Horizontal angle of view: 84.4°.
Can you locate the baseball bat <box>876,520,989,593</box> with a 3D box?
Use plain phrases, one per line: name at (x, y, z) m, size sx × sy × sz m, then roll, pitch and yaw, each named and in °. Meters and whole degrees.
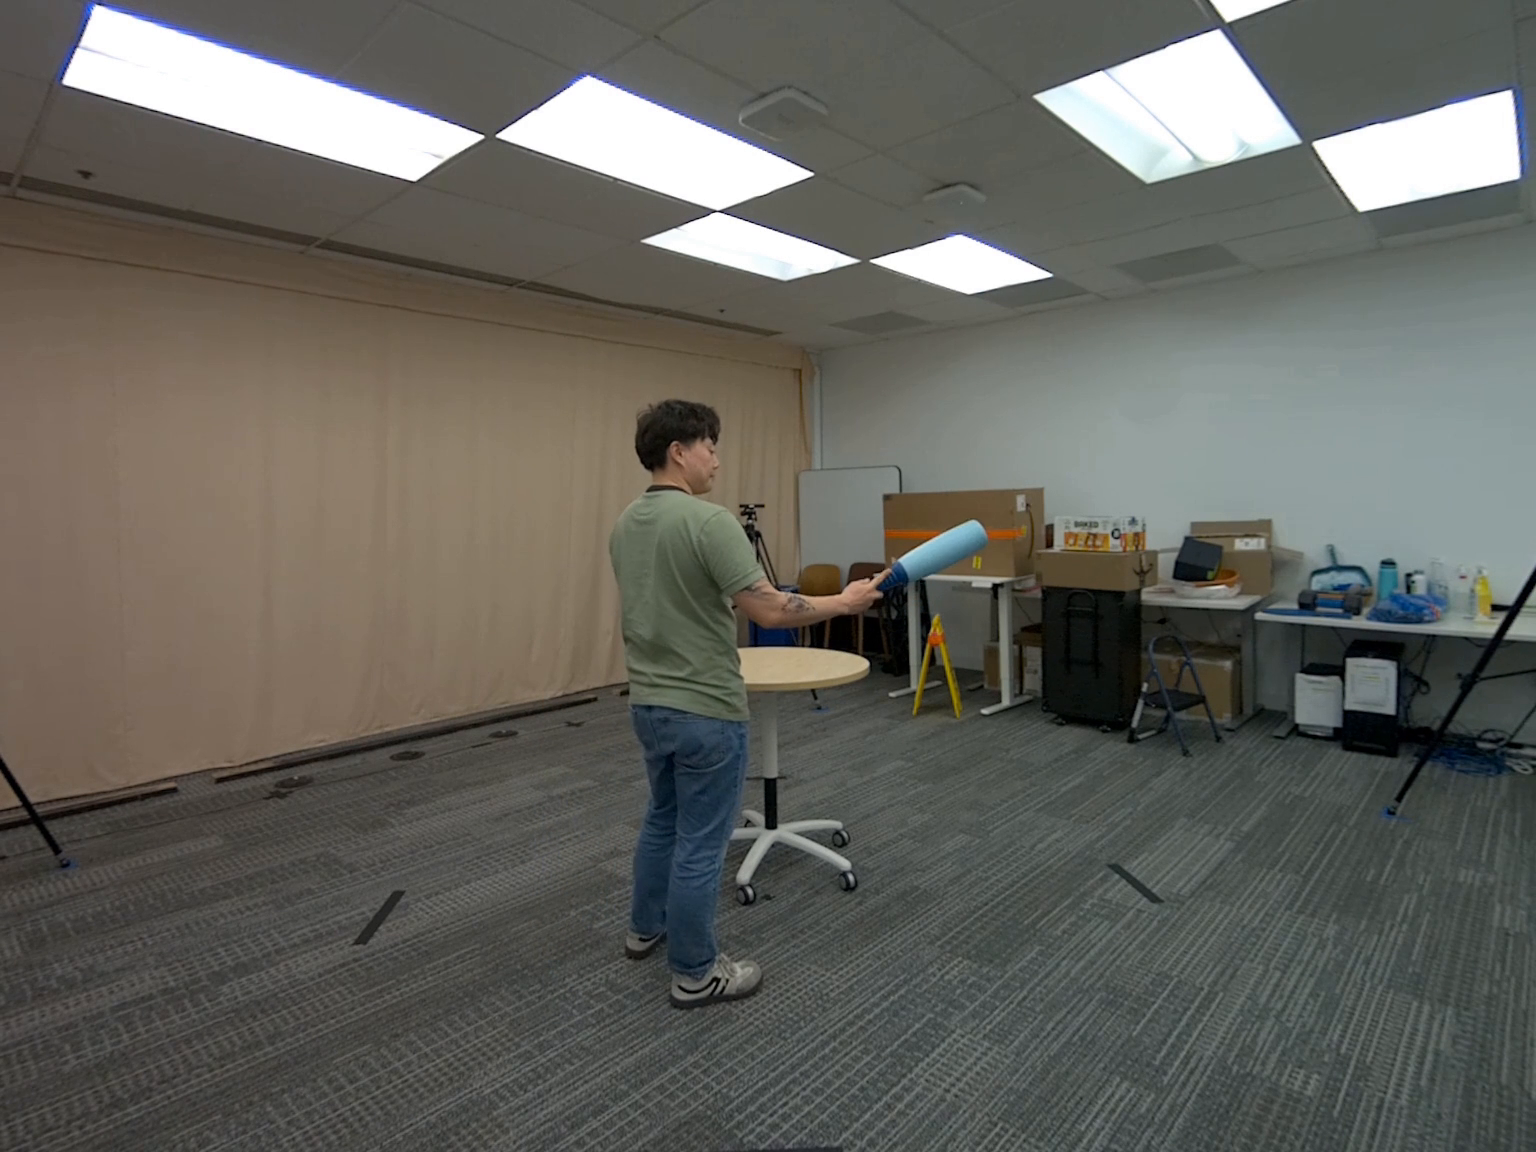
baseball bat at (0.353, -0.001, 2.322) m, size 0.542 × 0.088 × 0.089 m, roll -27°, pitch 5°, yaw -1°
